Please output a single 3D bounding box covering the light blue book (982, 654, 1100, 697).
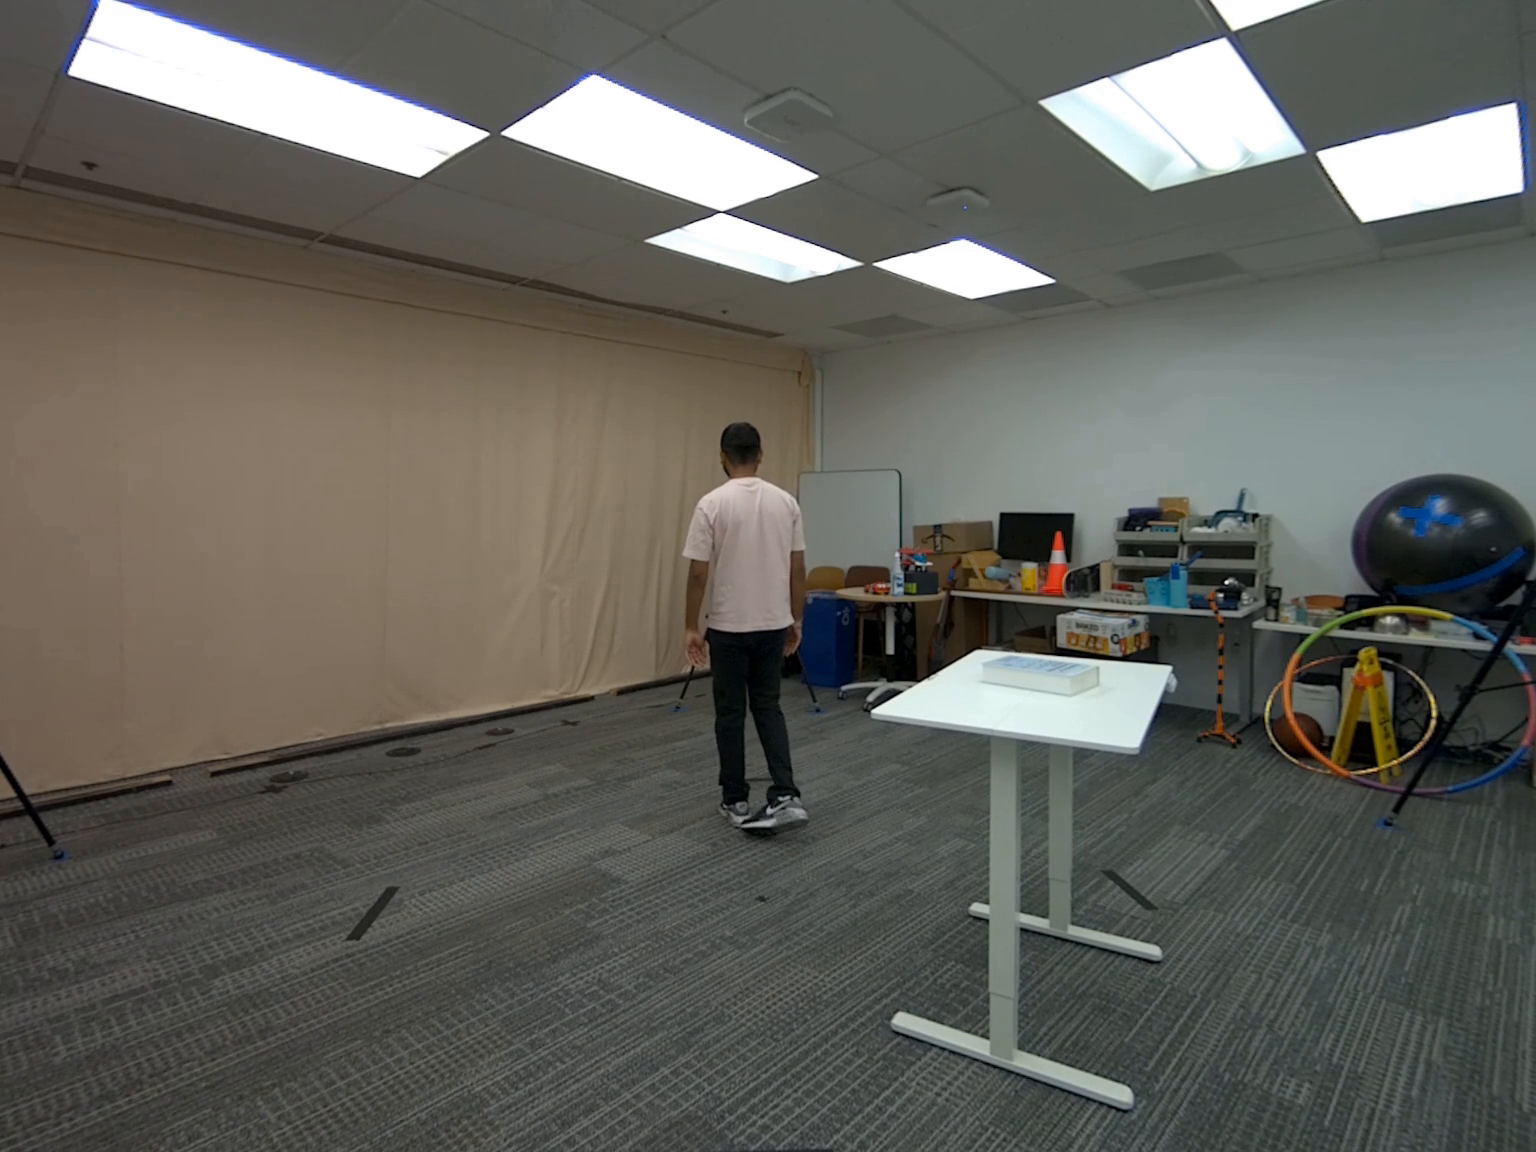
[{"bbox_3d":[0.782,0.281,2.378,0.270,0.059,0.185,4,7,43],"label":"light blue book"}]
